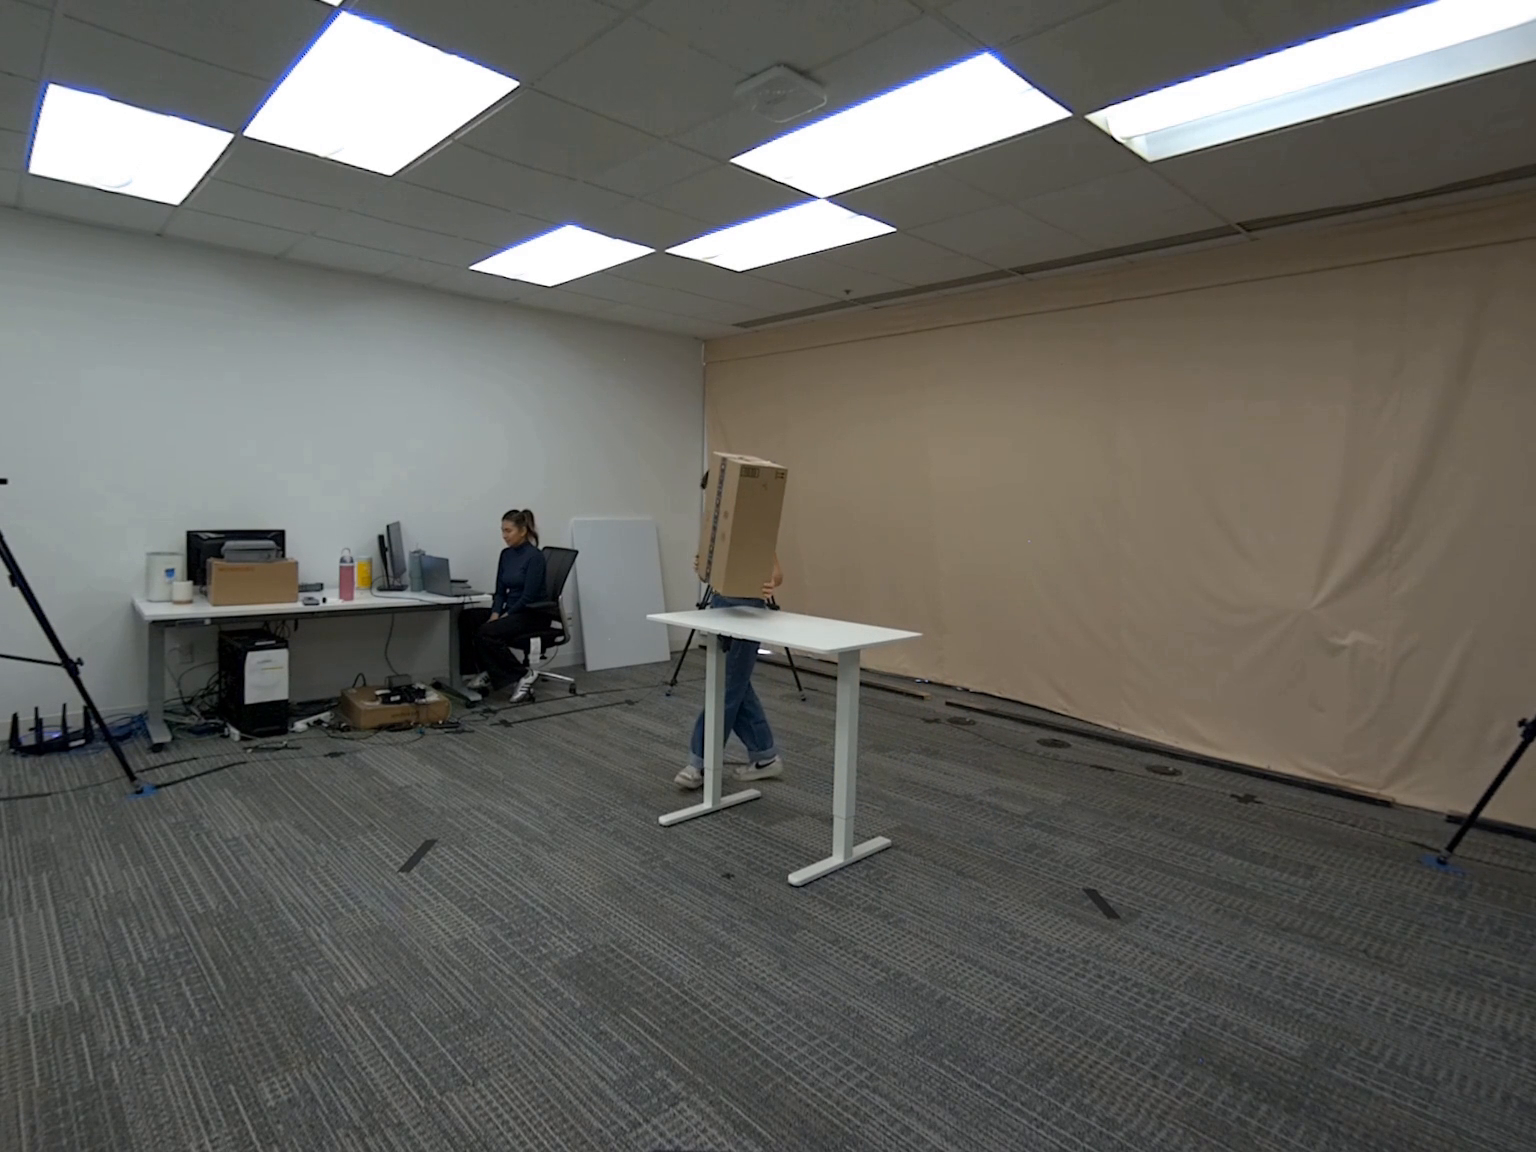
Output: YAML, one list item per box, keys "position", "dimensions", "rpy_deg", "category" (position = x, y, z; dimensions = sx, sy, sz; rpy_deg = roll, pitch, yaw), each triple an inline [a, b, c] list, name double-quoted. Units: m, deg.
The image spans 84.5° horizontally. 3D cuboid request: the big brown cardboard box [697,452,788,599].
- position: [-0.135, -0.232, 3.715]
  dimensions: [0.229, 0.584, 0.427]
  rpy_deg: [3, 13, -21]
  category: "big brown cardboard box"
